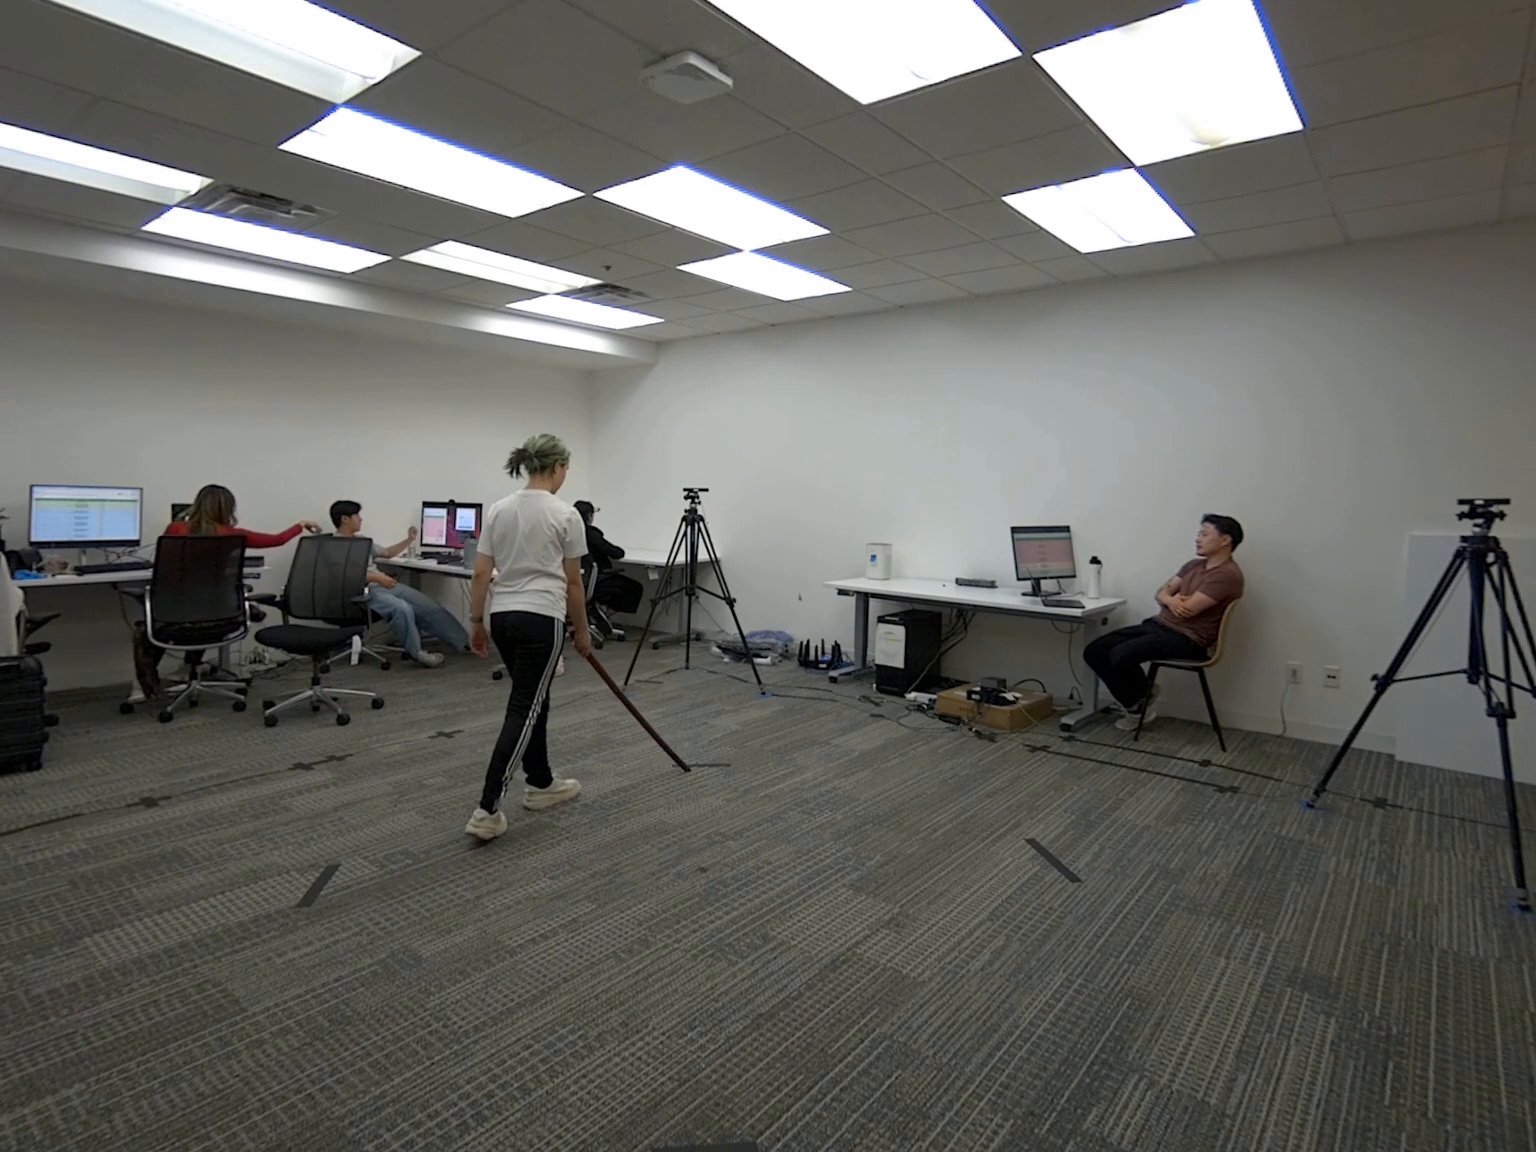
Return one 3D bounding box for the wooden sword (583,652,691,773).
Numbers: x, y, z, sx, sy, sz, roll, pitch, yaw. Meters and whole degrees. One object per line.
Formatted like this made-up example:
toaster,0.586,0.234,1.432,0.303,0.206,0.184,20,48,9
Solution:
wooden sword,-0.655,0.616,3.967,0.052,0.988,0.024,-11,38,33
